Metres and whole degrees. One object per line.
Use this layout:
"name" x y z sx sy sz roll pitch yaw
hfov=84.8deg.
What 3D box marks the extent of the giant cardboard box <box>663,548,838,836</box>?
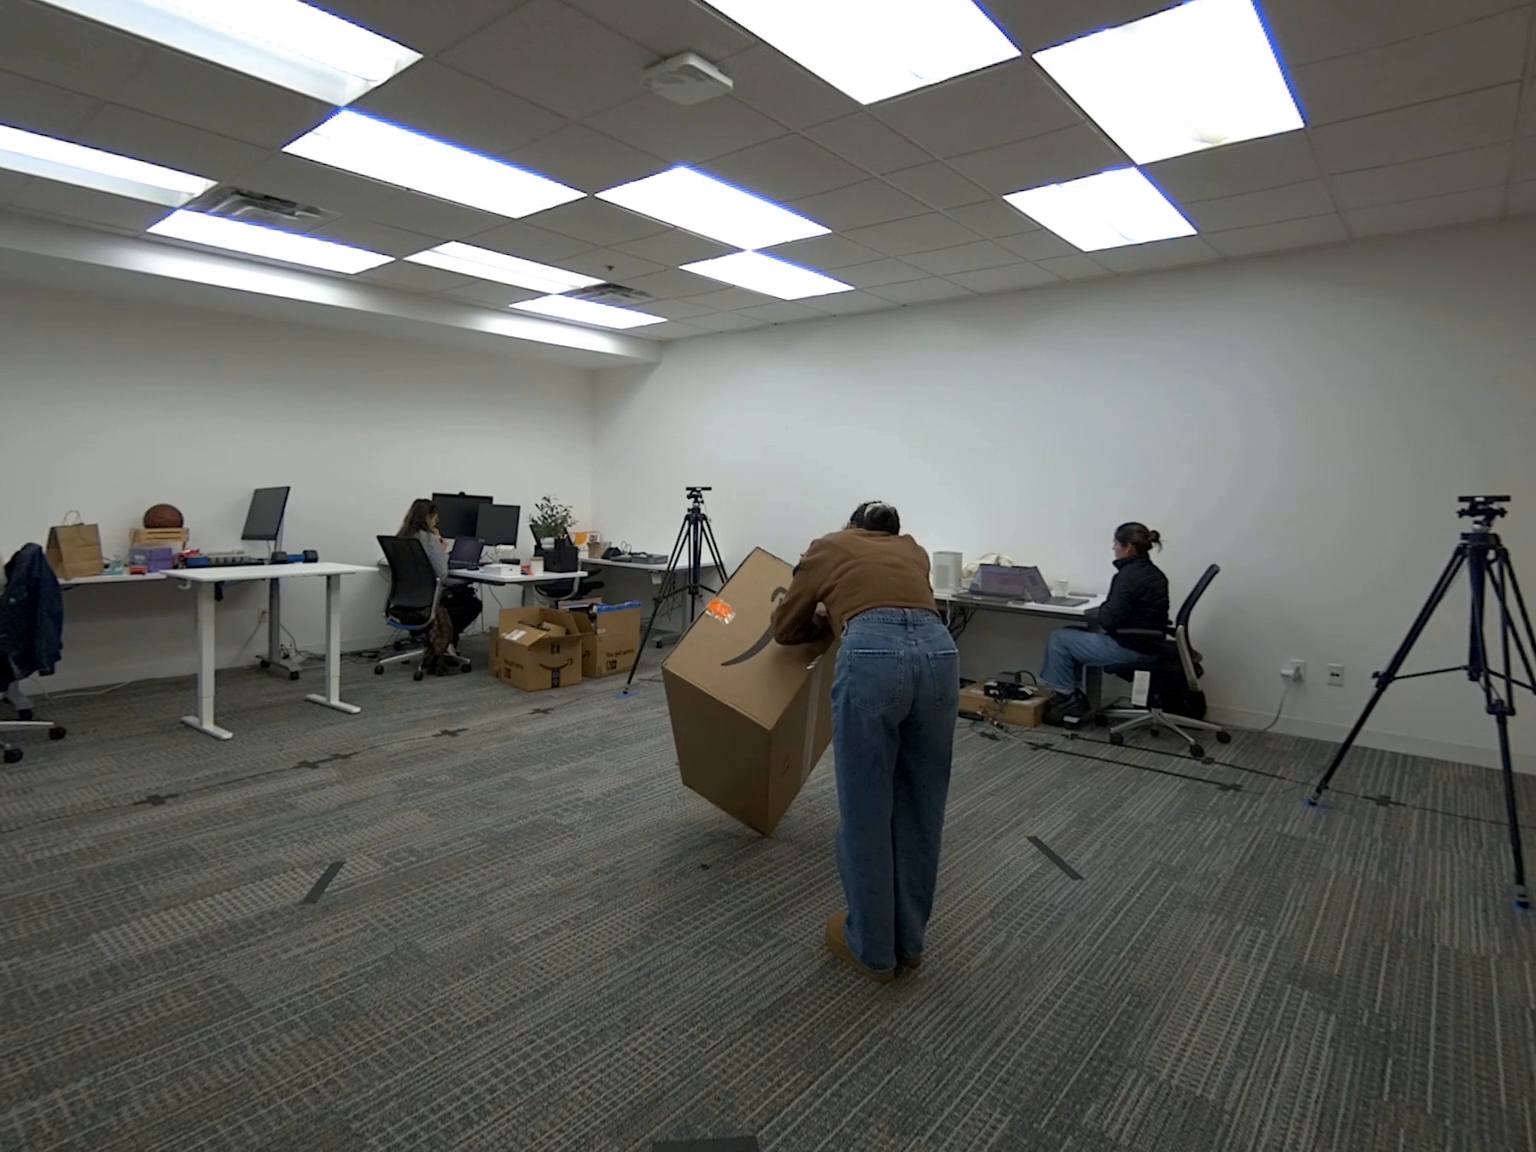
"giant cardboard box" -0.041 0.475 3.214 0.458 0.585 0.999 27 -32 18
